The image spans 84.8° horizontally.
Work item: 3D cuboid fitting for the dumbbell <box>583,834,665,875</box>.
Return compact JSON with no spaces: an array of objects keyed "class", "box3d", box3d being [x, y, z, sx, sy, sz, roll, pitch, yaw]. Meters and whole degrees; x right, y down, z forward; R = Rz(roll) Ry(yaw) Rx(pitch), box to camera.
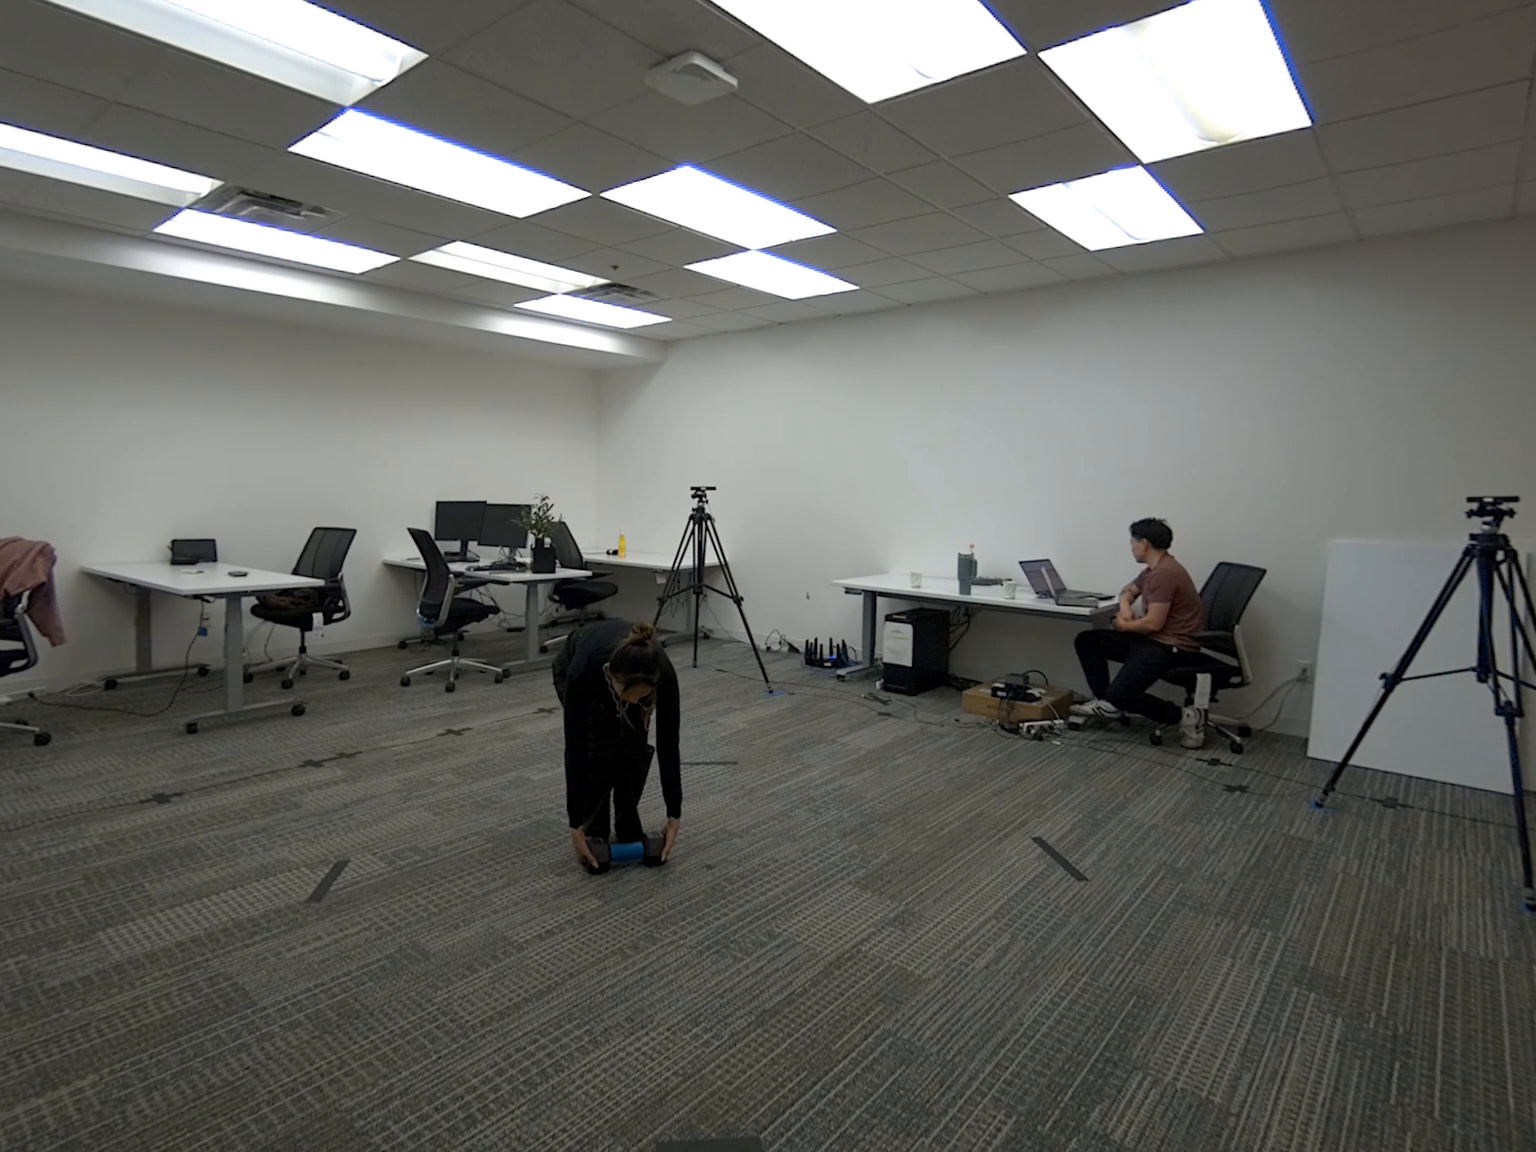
[{"class":"dumbbell","box3d":[-0.529,1.009,3.110,0.288,0.120,0.113,-1,36,-19]}]
